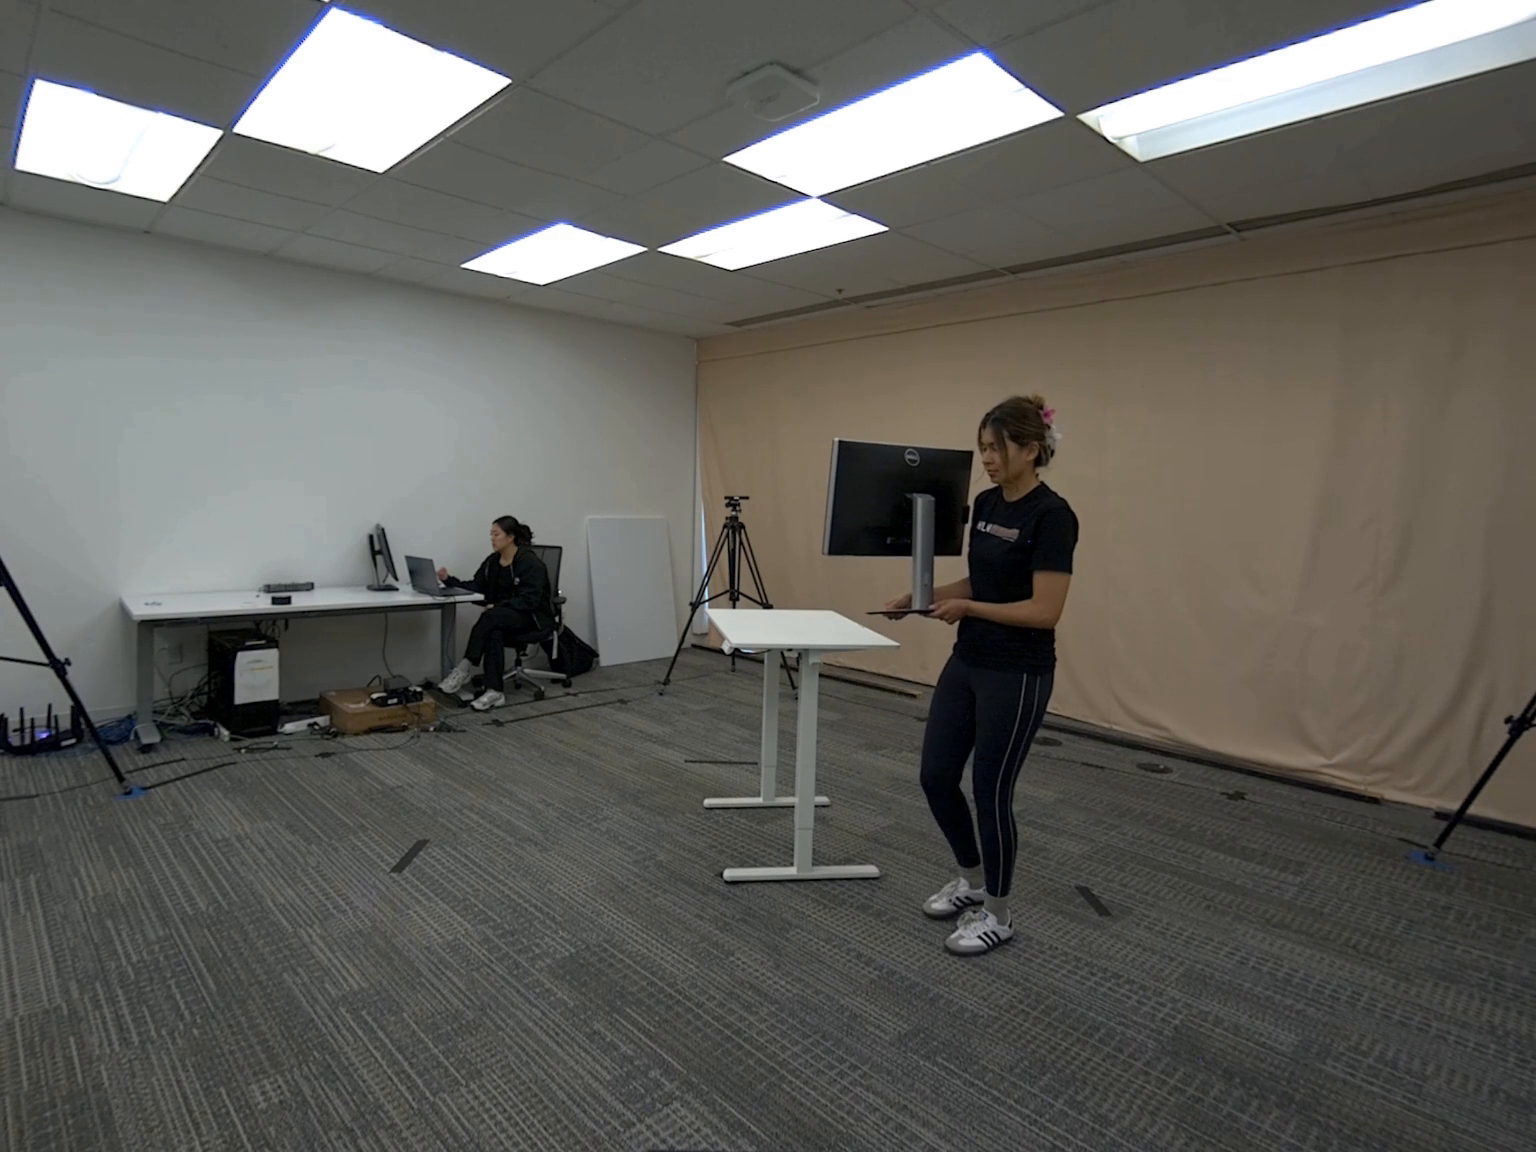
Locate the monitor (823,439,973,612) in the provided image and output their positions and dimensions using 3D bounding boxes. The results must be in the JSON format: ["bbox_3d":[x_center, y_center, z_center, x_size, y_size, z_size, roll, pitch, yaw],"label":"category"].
[{"bbox_3d":[0.439,-0.153,2.687,0.527,0.524,0.190,1,-4,-31],"label":"monitor"}]
